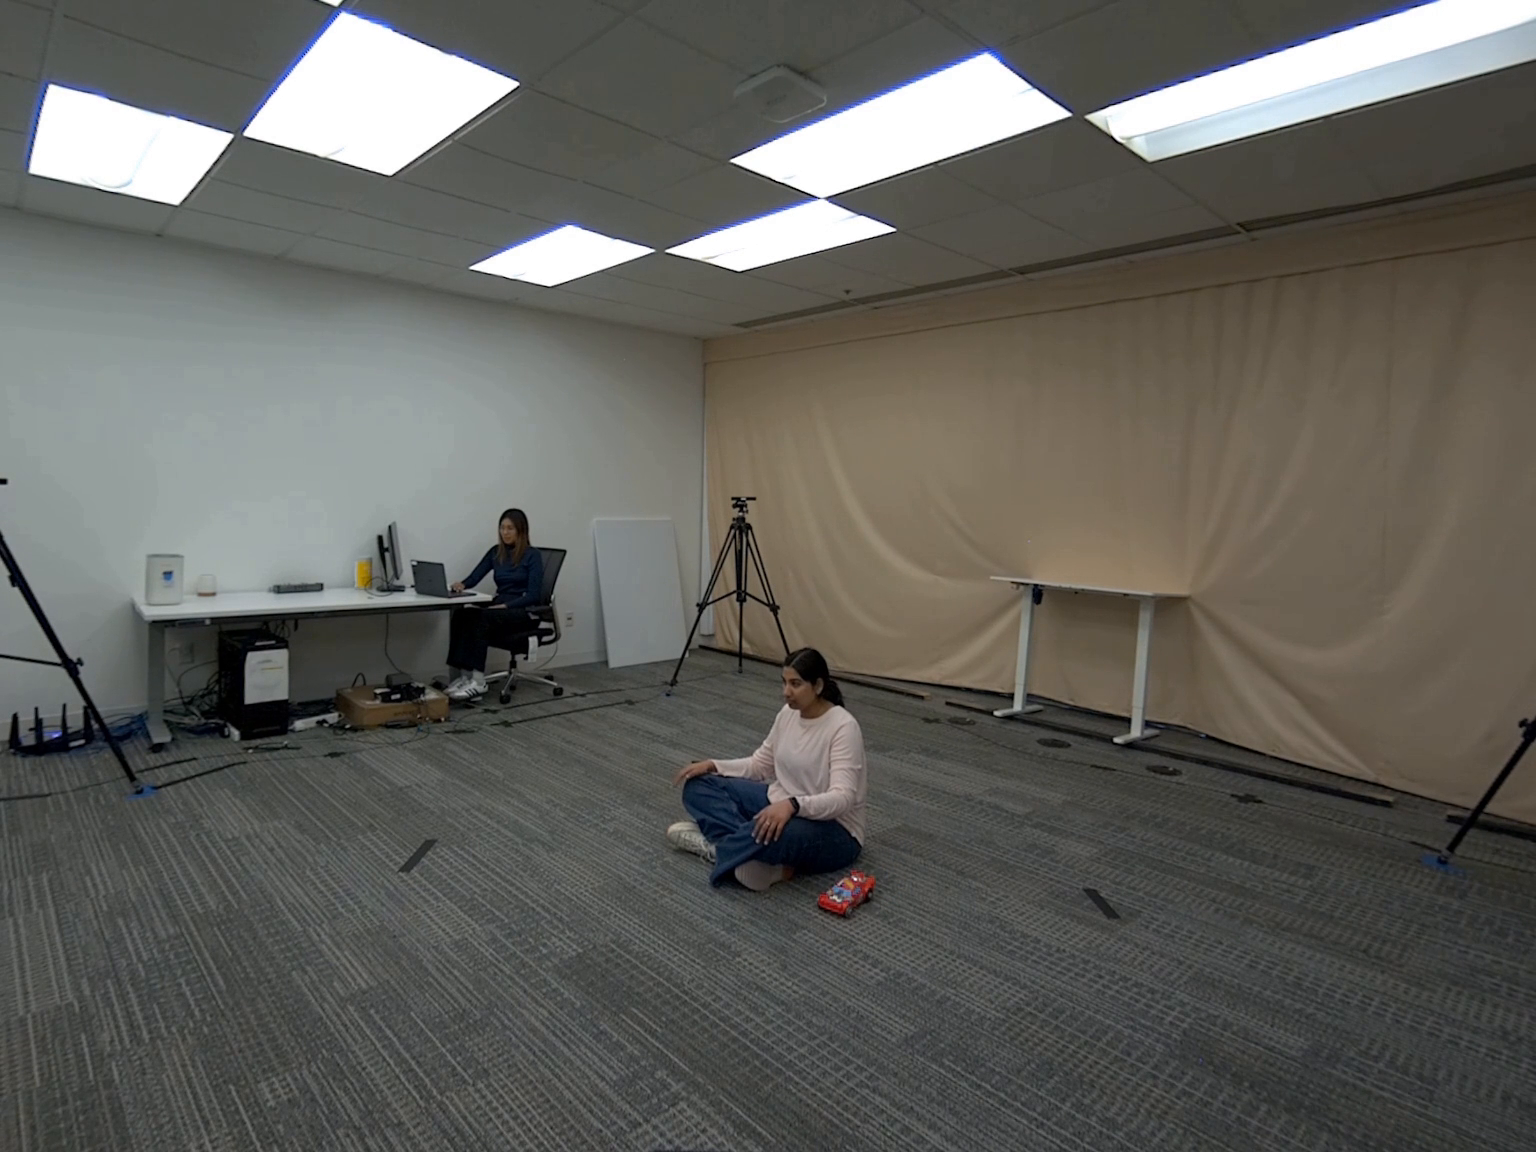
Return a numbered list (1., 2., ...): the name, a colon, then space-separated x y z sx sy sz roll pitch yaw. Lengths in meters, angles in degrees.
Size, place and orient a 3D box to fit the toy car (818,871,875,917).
1. toy car: 0.276 1.109 2.911 0.133 0.082 0.250 5 15 36
